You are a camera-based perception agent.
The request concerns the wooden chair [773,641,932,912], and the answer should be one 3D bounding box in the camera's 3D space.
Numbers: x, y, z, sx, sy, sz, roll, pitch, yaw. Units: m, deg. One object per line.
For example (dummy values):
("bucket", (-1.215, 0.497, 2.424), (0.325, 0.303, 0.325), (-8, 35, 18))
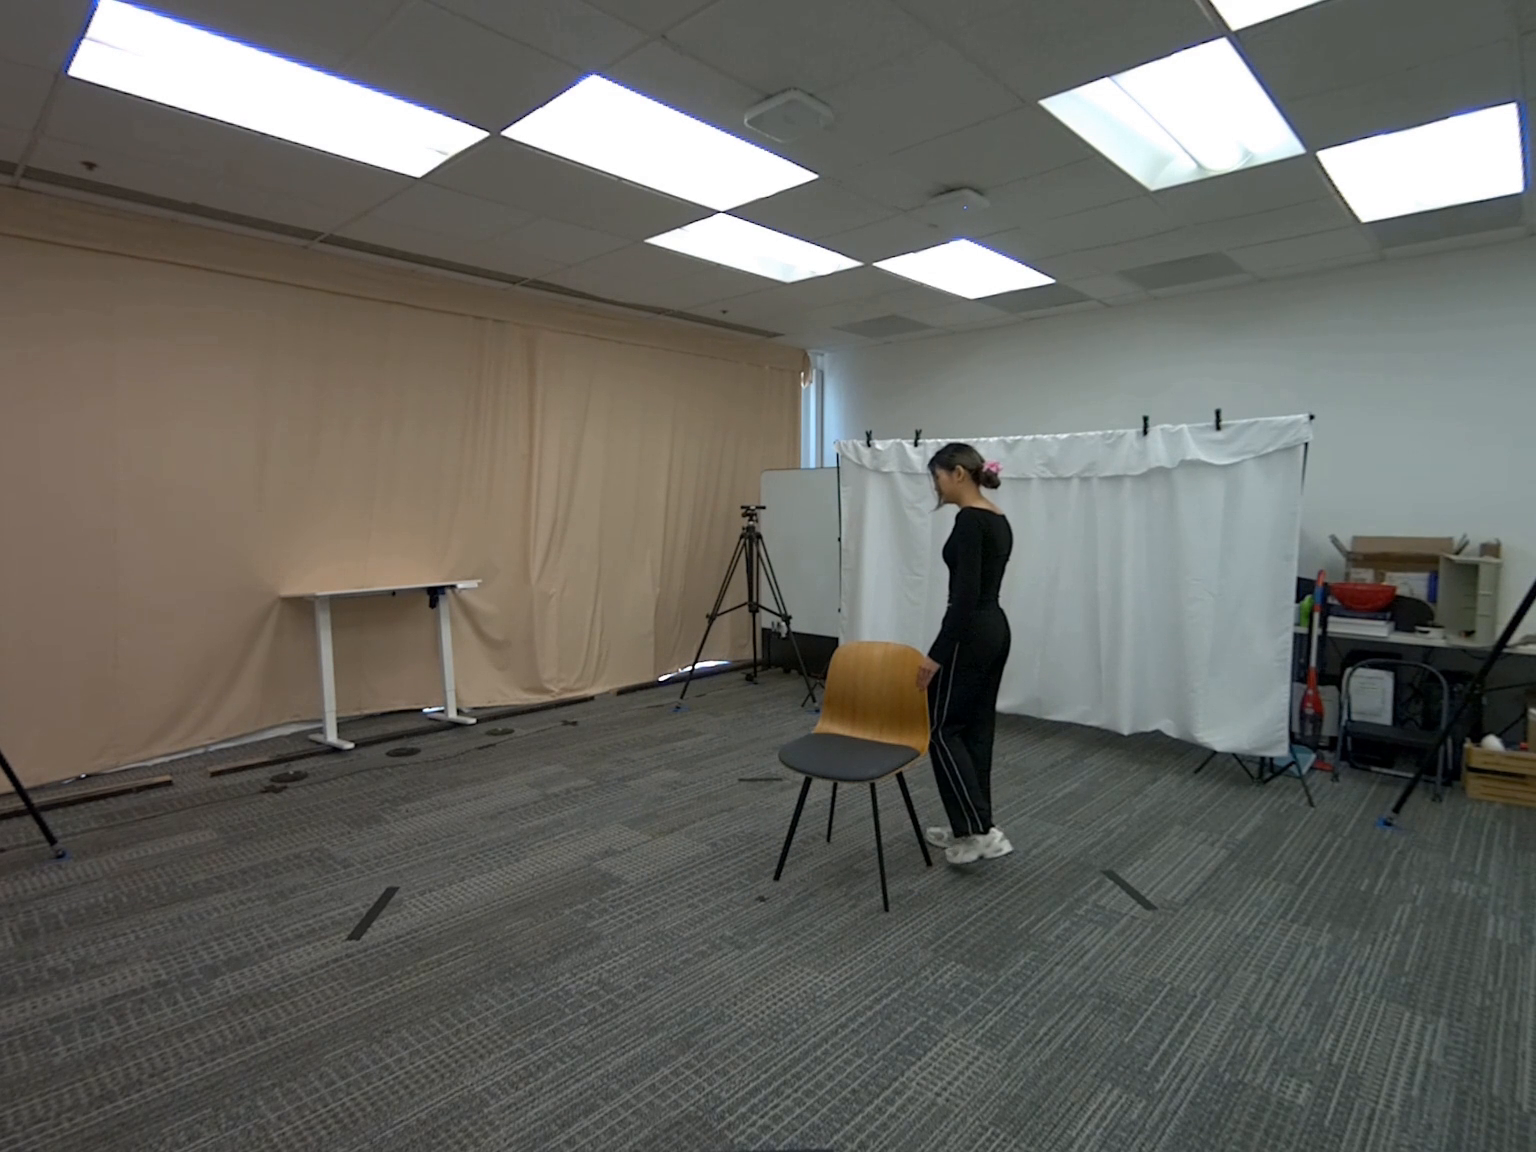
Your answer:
("wooden chair", (0.327, 0.699, 3.154), (0.493, 0.878, 0.507), (2, -1, 33))
